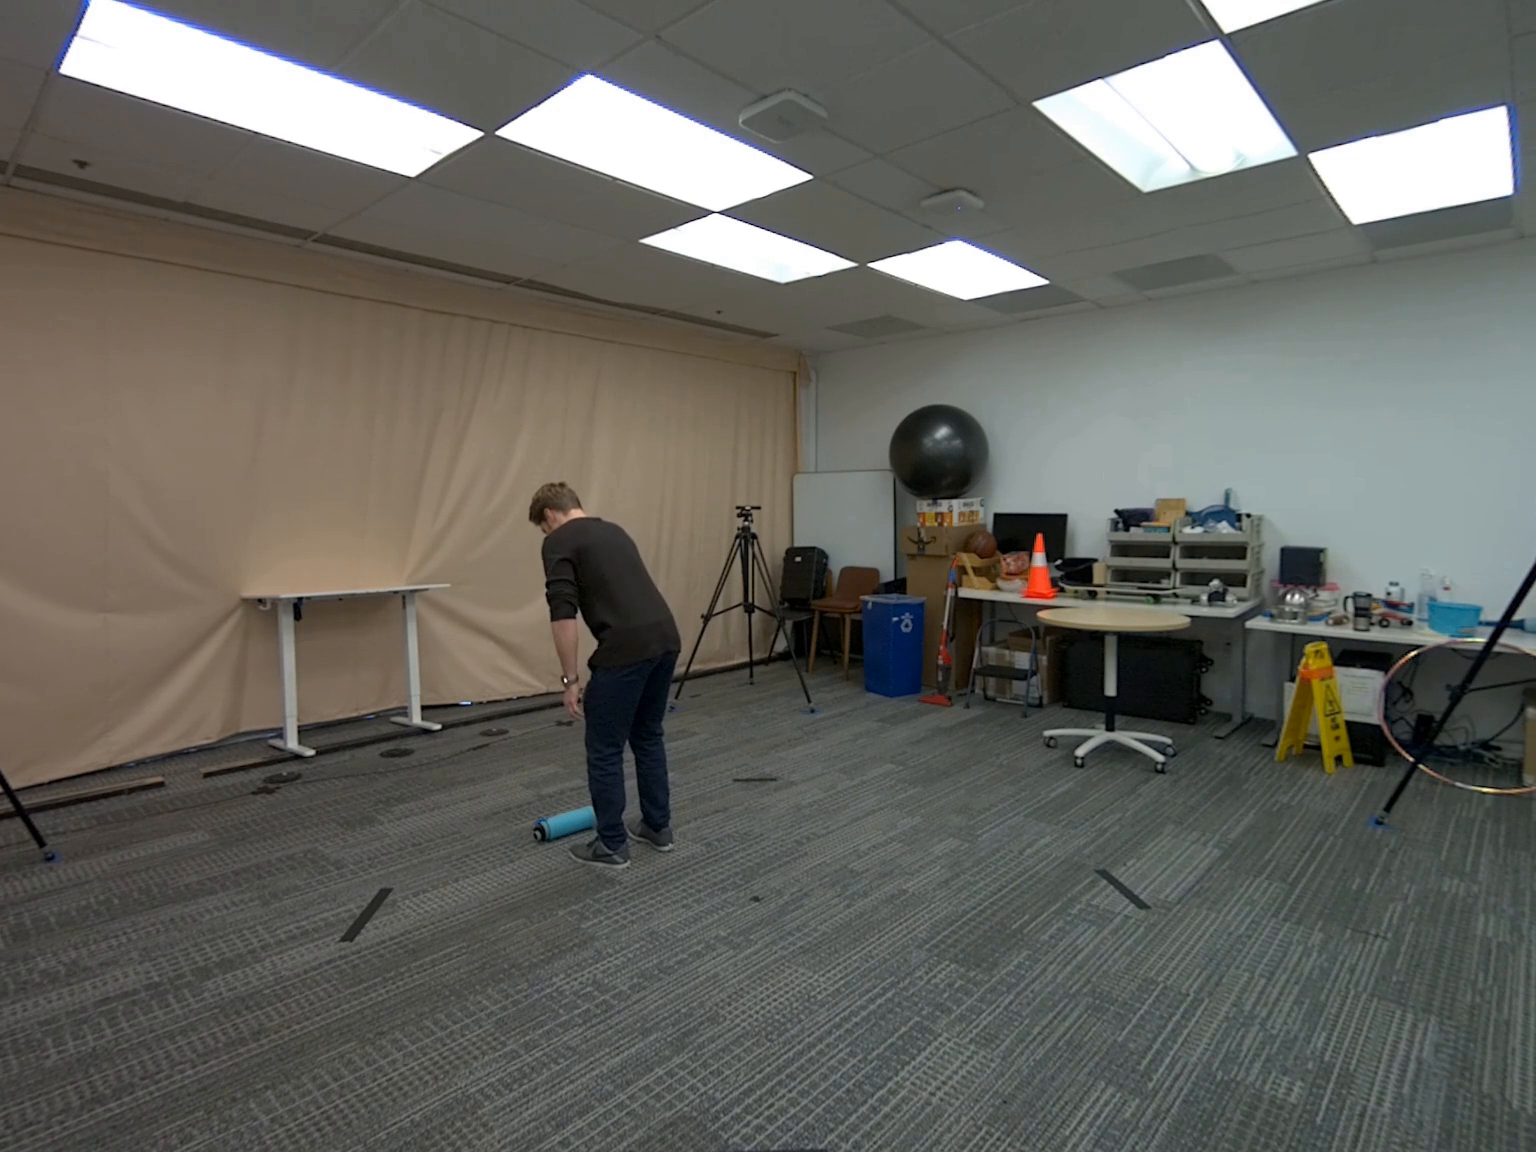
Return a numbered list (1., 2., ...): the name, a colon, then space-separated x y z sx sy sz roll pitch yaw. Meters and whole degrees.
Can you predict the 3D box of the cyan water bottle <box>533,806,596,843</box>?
1. cyan water bottle: -0.870 1.055 3.589 0.275 0.092 0.095 -5 6 -41
